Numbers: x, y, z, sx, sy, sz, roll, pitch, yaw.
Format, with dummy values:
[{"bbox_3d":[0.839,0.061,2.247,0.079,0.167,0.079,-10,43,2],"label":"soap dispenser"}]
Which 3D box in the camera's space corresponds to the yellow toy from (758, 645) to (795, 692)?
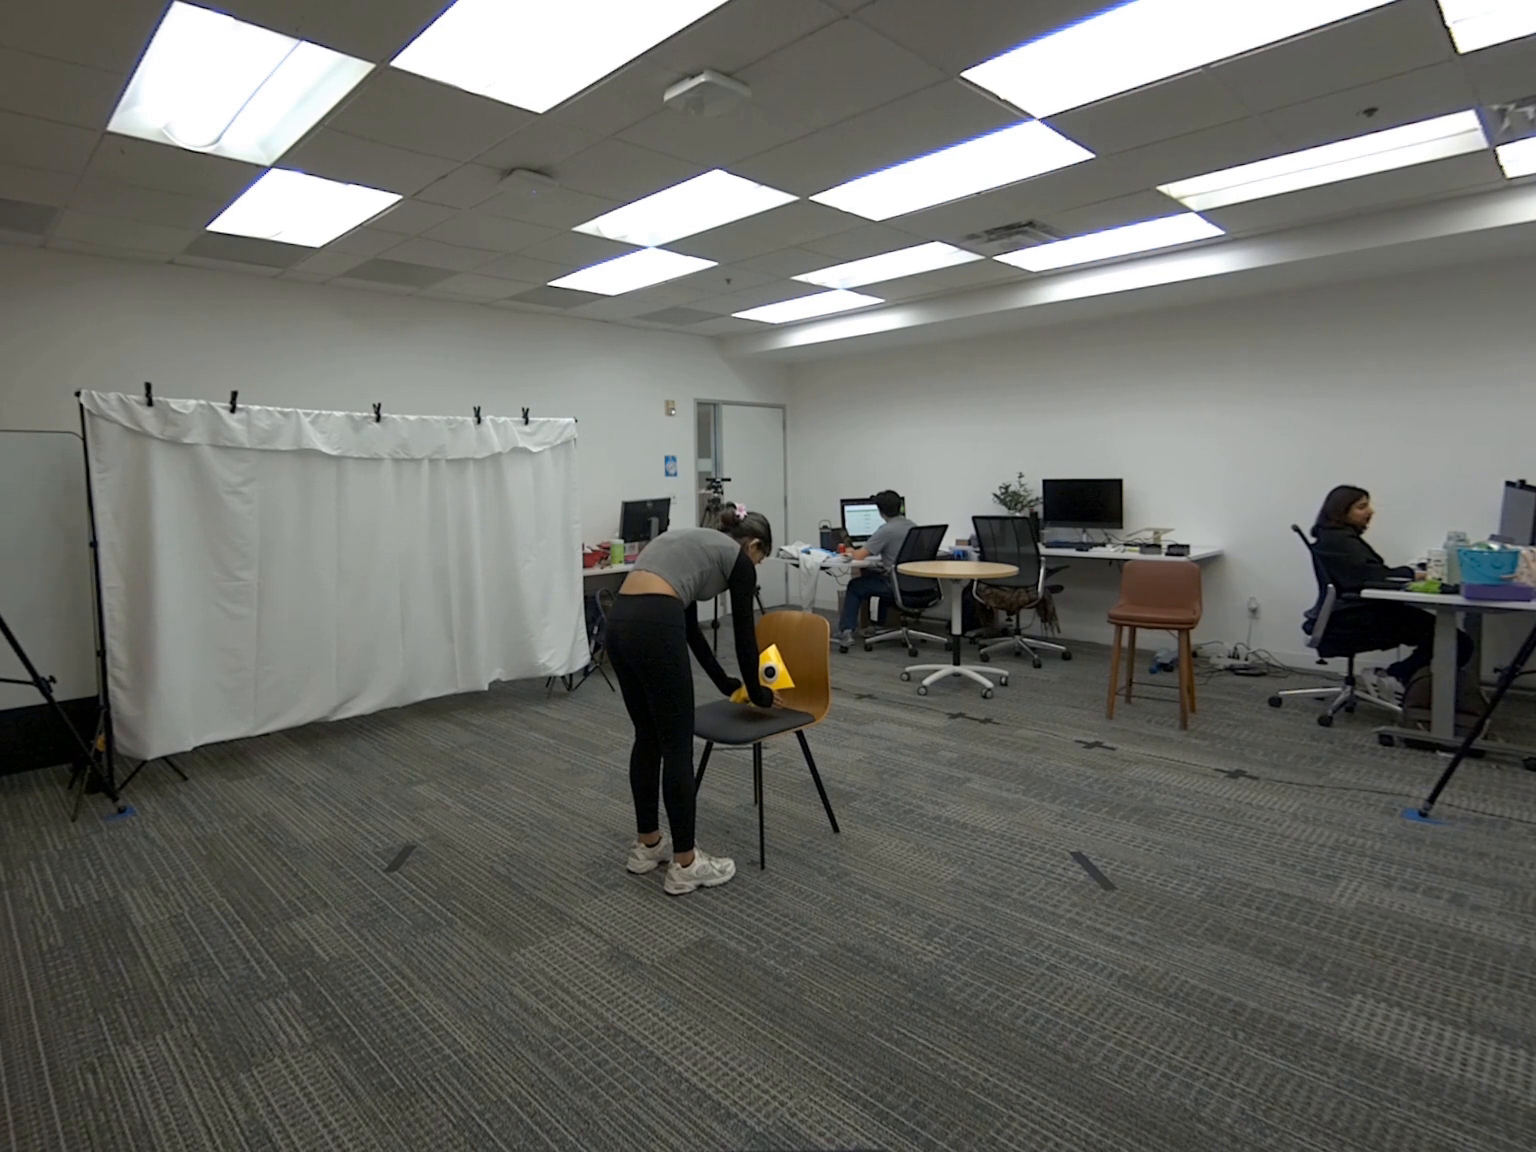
[{"bbox_3d":[-0.026,0.387,3.332,0.187,0.231,0.211,7,-3,-42],"label":"yellow toy"}]
